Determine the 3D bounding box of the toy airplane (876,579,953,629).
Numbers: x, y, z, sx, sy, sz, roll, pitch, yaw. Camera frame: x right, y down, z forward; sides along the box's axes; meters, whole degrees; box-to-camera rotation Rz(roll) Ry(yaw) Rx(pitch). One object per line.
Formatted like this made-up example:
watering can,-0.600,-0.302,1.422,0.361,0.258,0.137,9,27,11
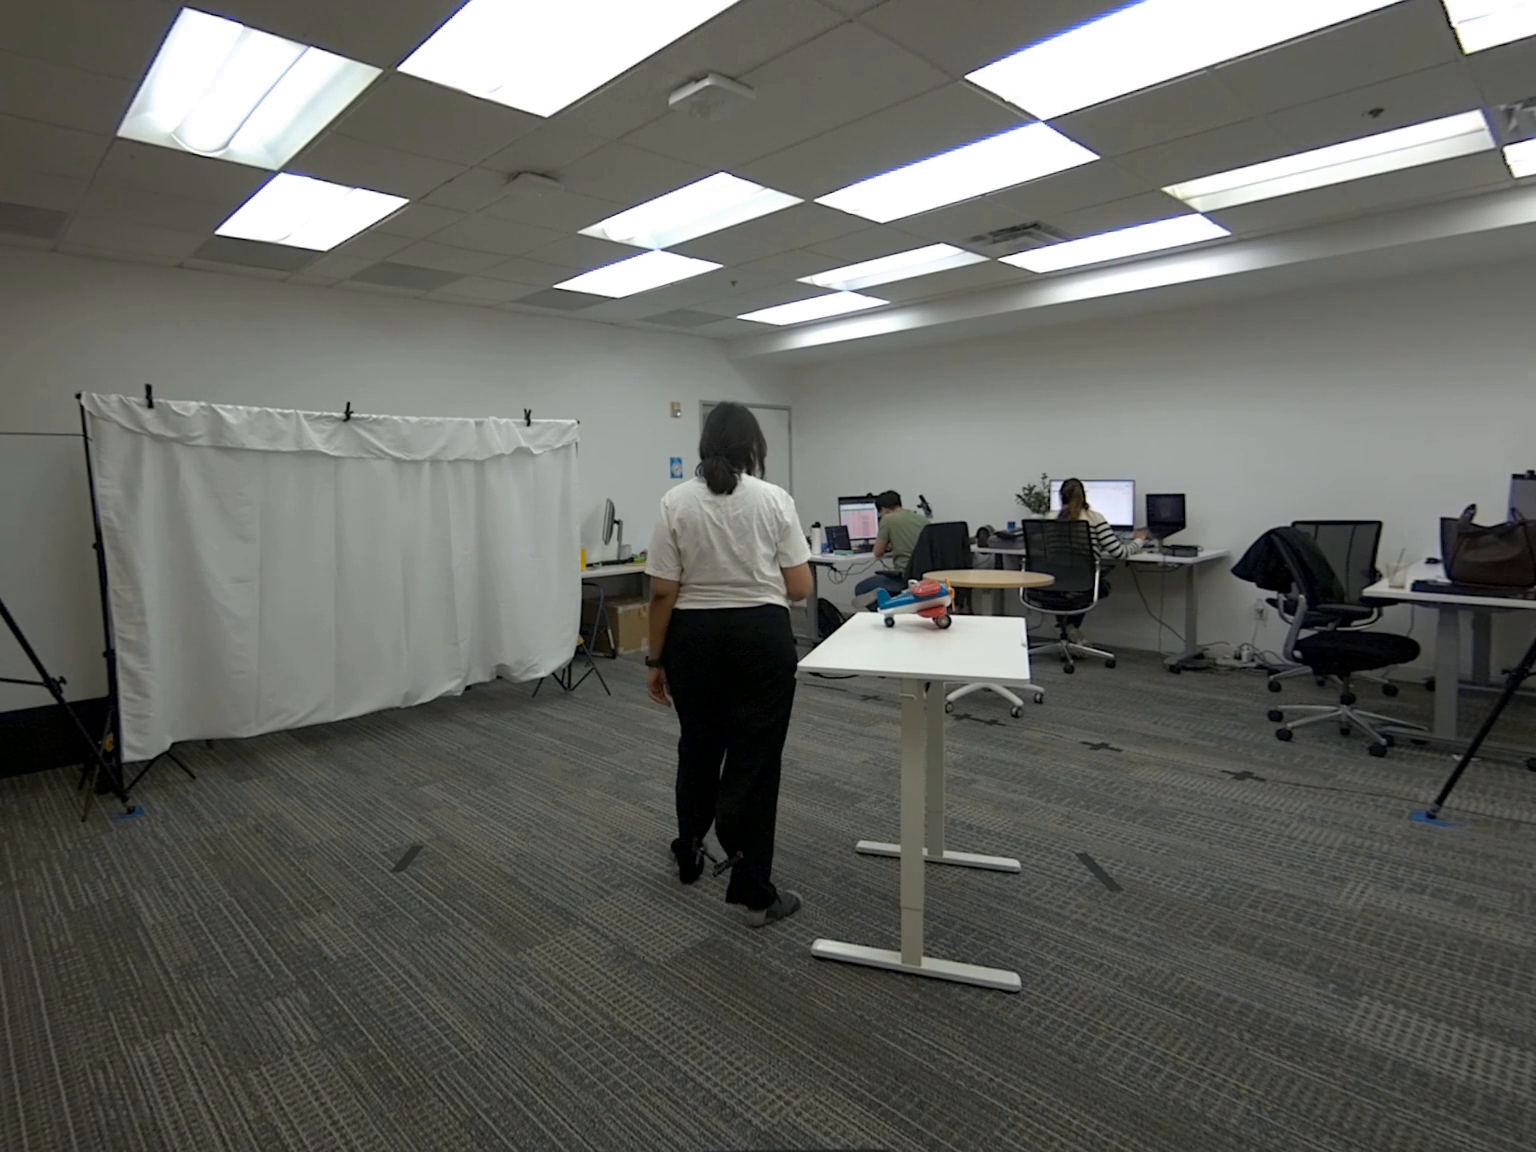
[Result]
toy airplane,0.503,0.100,2.916,0.254,0.156,0.257,-1,6,-23
